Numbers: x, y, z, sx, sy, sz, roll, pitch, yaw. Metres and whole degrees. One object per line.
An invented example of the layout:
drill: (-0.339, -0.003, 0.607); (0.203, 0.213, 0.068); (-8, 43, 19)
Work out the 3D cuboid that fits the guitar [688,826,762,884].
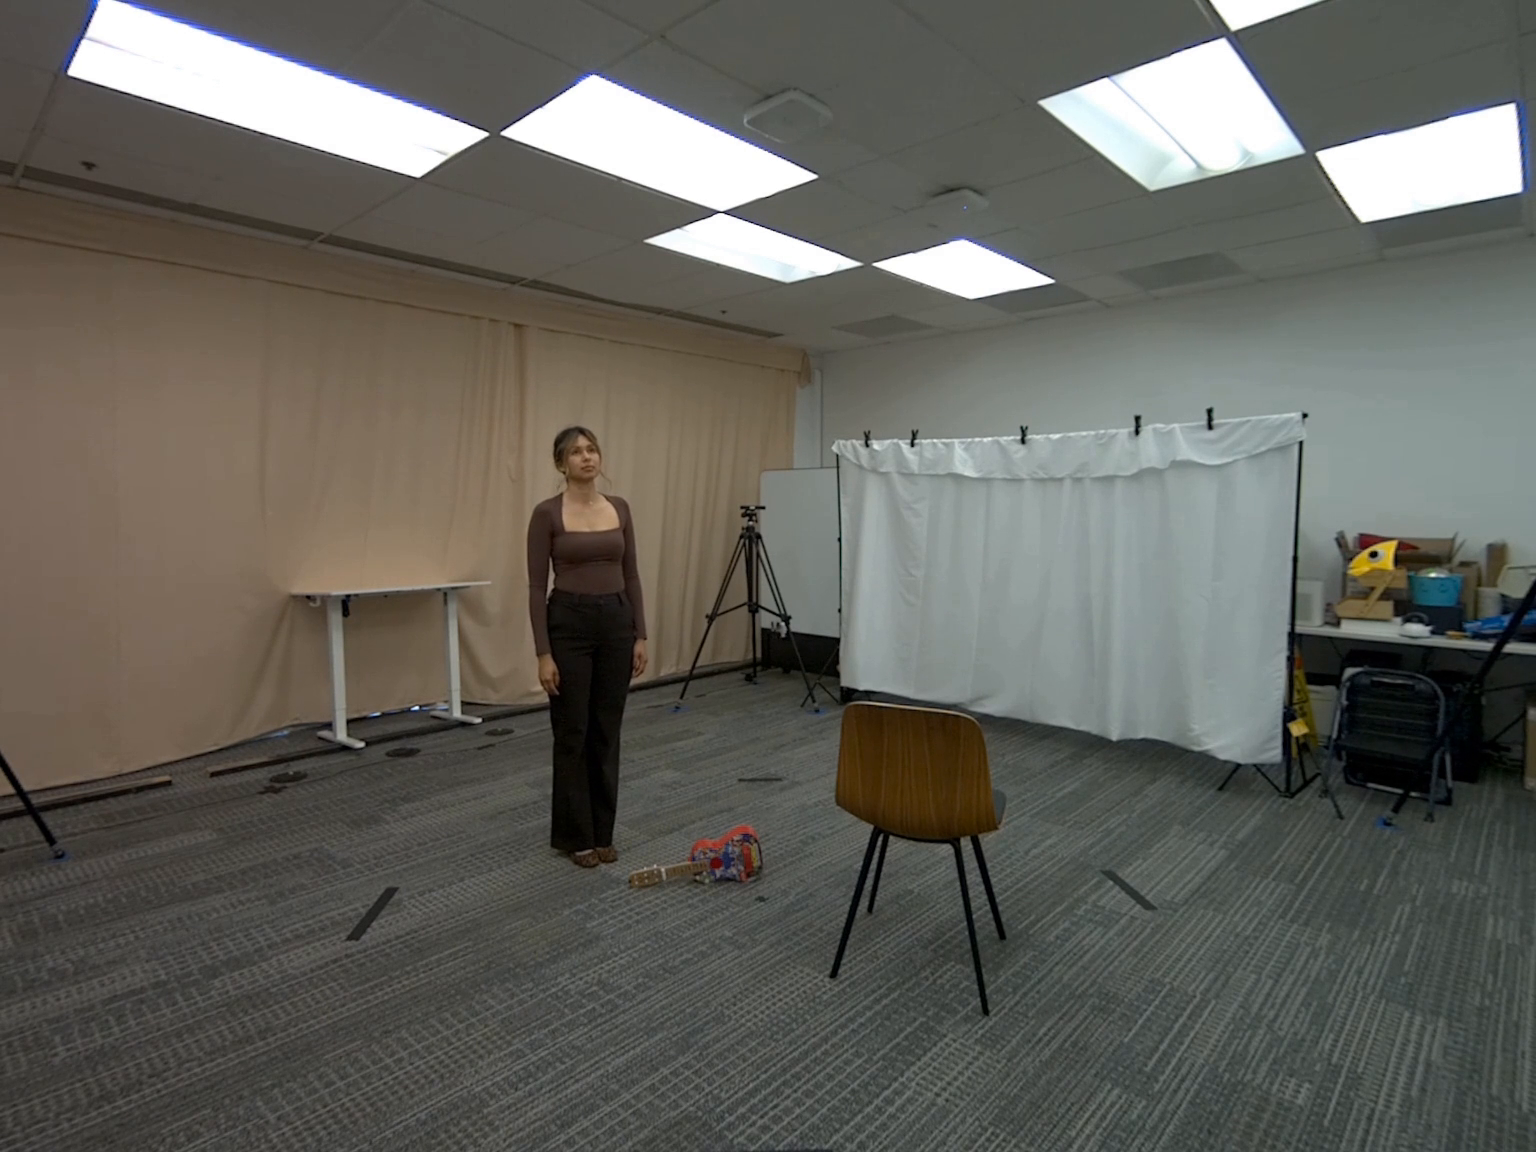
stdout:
guitar: (-0.269, 1.043, 3.113); (0.495, 0.192, 0.071); (-1, 7, -5)
